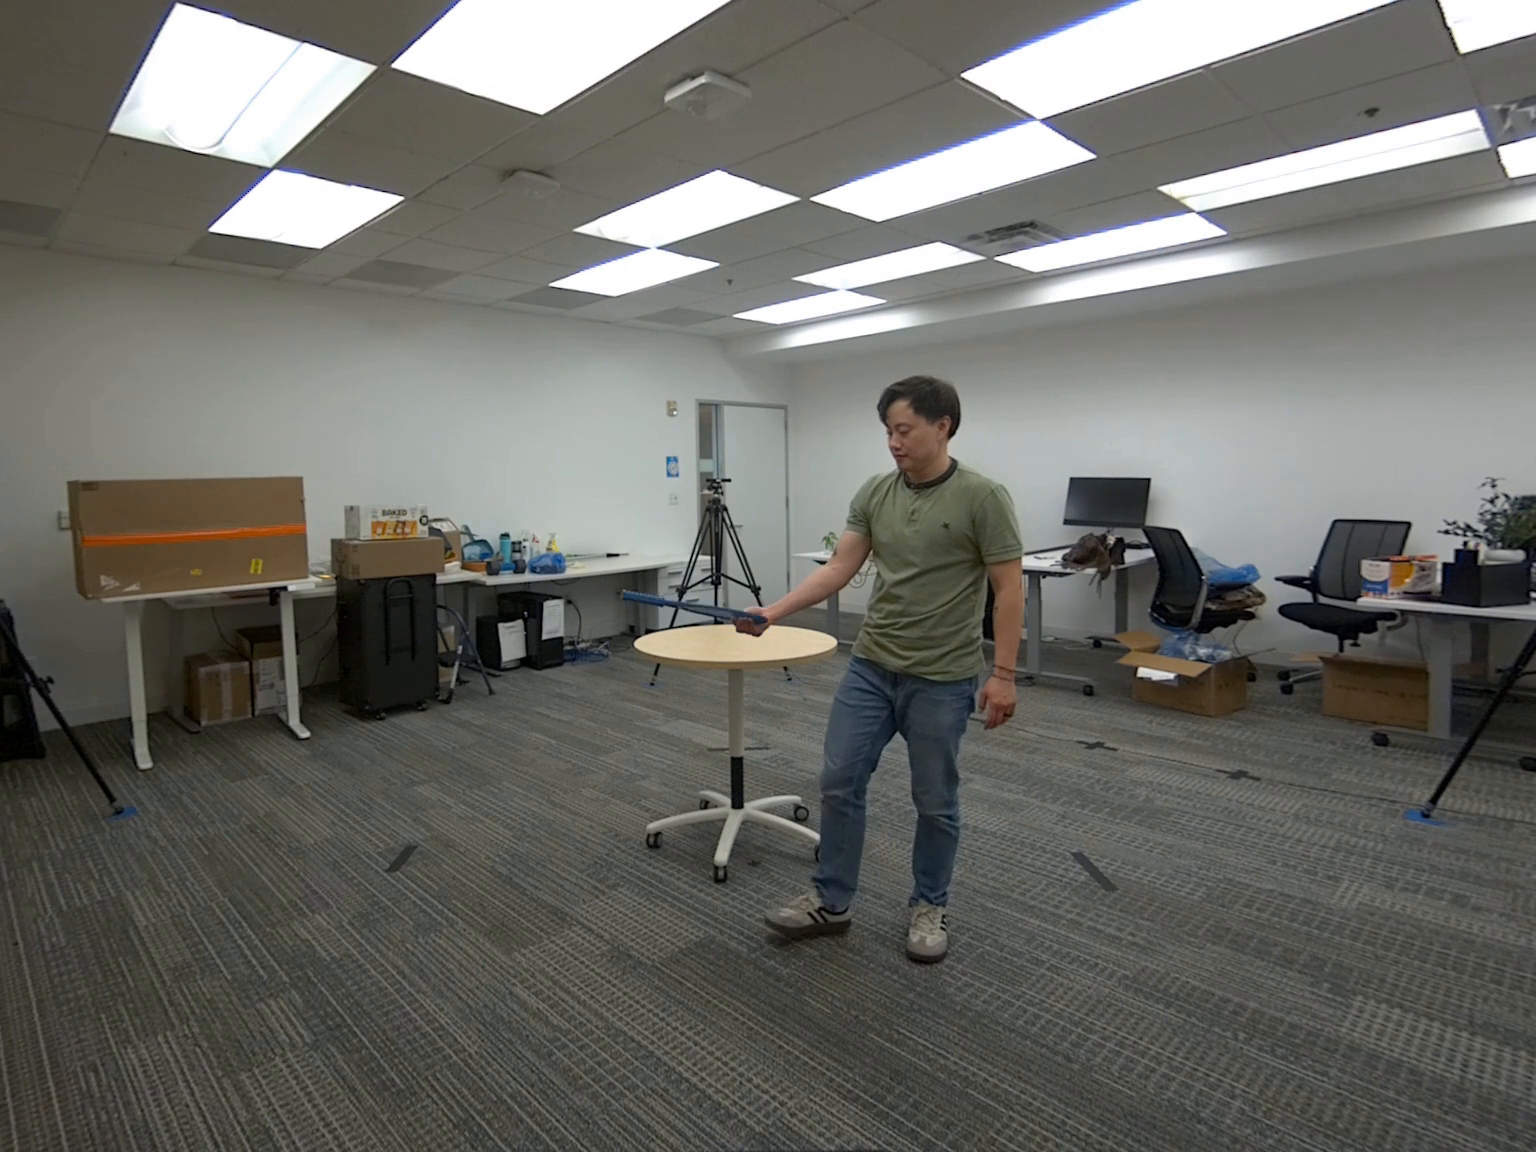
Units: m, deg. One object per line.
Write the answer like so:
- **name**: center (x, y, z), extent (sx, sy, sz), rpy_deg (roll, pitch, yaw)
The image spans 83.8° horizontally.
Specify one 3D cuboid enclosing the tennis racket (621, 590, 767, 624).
- **tennis racket**: center (-0.207, 0.101, 2.433), extent (0.422, 0.032, 0.217), rpy_deg (9, -7, -24)
